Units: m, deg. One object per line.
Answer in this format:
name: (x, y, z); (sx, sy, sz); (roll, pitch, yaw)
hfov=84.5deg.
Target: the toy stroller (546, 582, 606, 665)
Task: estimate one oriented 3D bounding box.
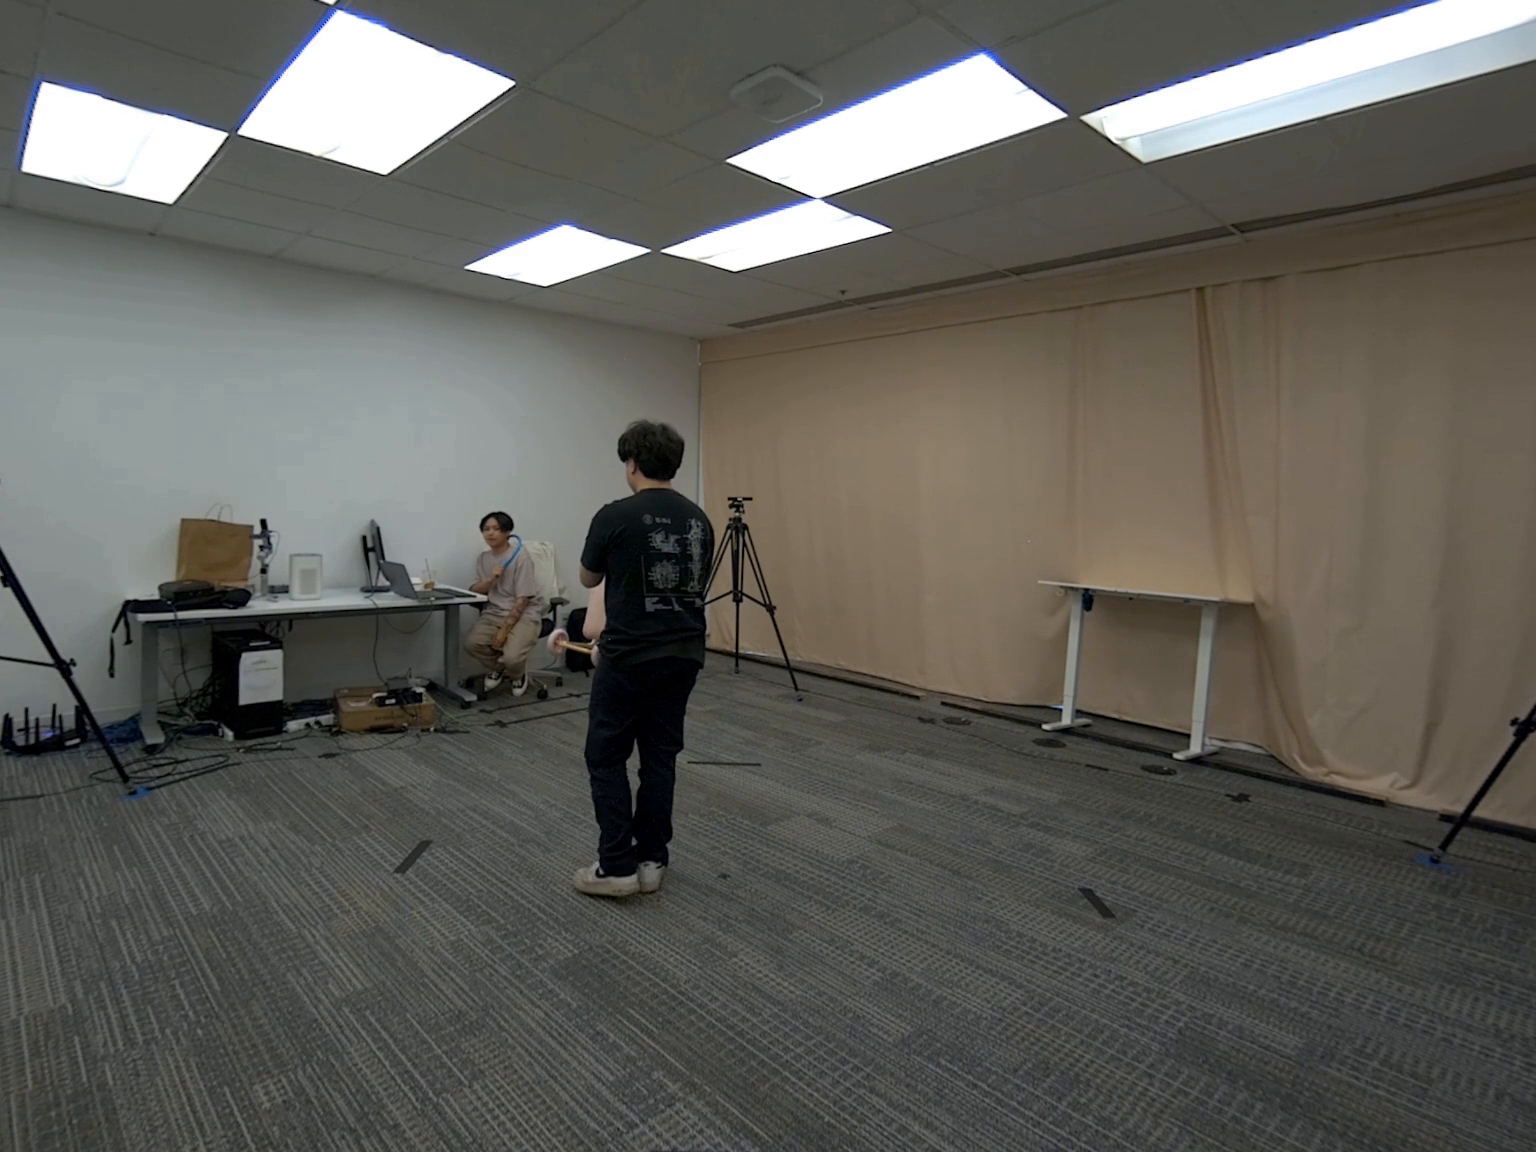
toy stroller: (-0.640, 0.179, 3.437); (0.288, 0.538, 0.330); (6, -17, 37)
